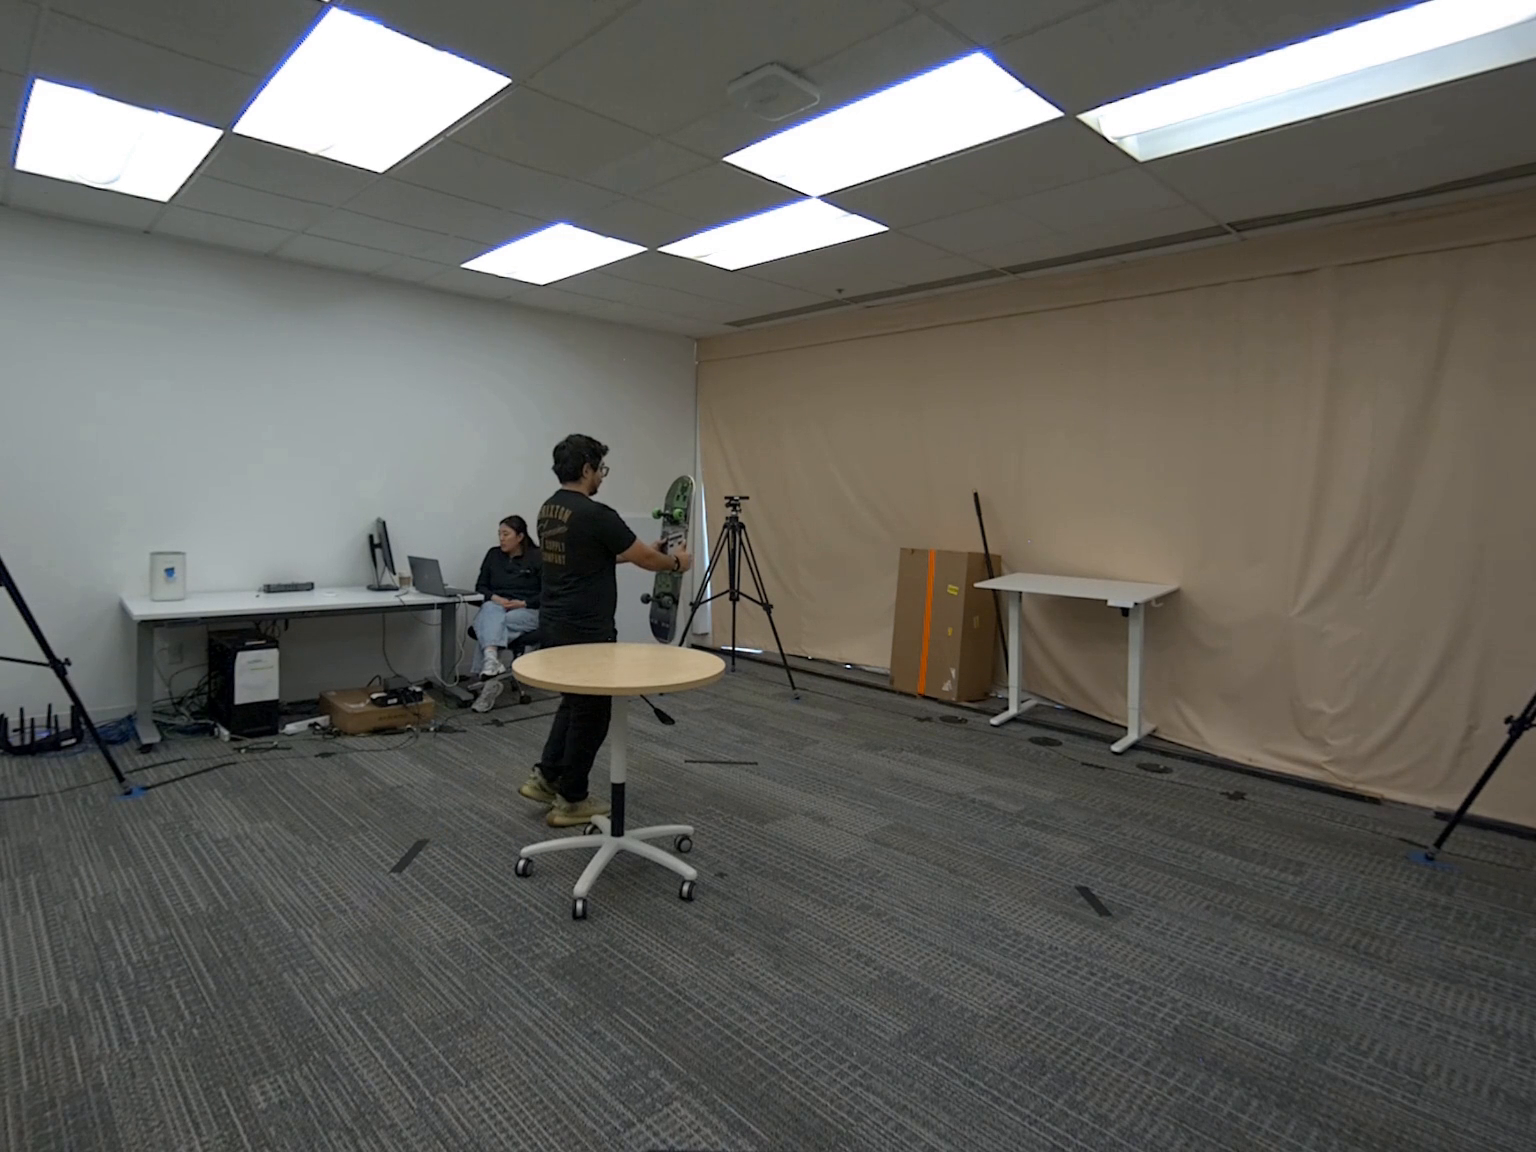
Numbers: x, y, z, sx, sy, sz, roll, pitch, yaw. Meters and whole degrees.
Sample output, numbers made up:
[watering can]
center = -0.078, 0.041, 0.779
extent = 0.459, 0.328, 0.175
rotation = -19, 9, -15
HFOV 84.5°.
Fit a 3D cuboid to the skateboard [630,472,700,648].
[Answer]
[skateboard]
center = -0.474, -0.080, 3.883
extent = 0.198, 0.787, 0.107
rotation = 5, -4, 42
